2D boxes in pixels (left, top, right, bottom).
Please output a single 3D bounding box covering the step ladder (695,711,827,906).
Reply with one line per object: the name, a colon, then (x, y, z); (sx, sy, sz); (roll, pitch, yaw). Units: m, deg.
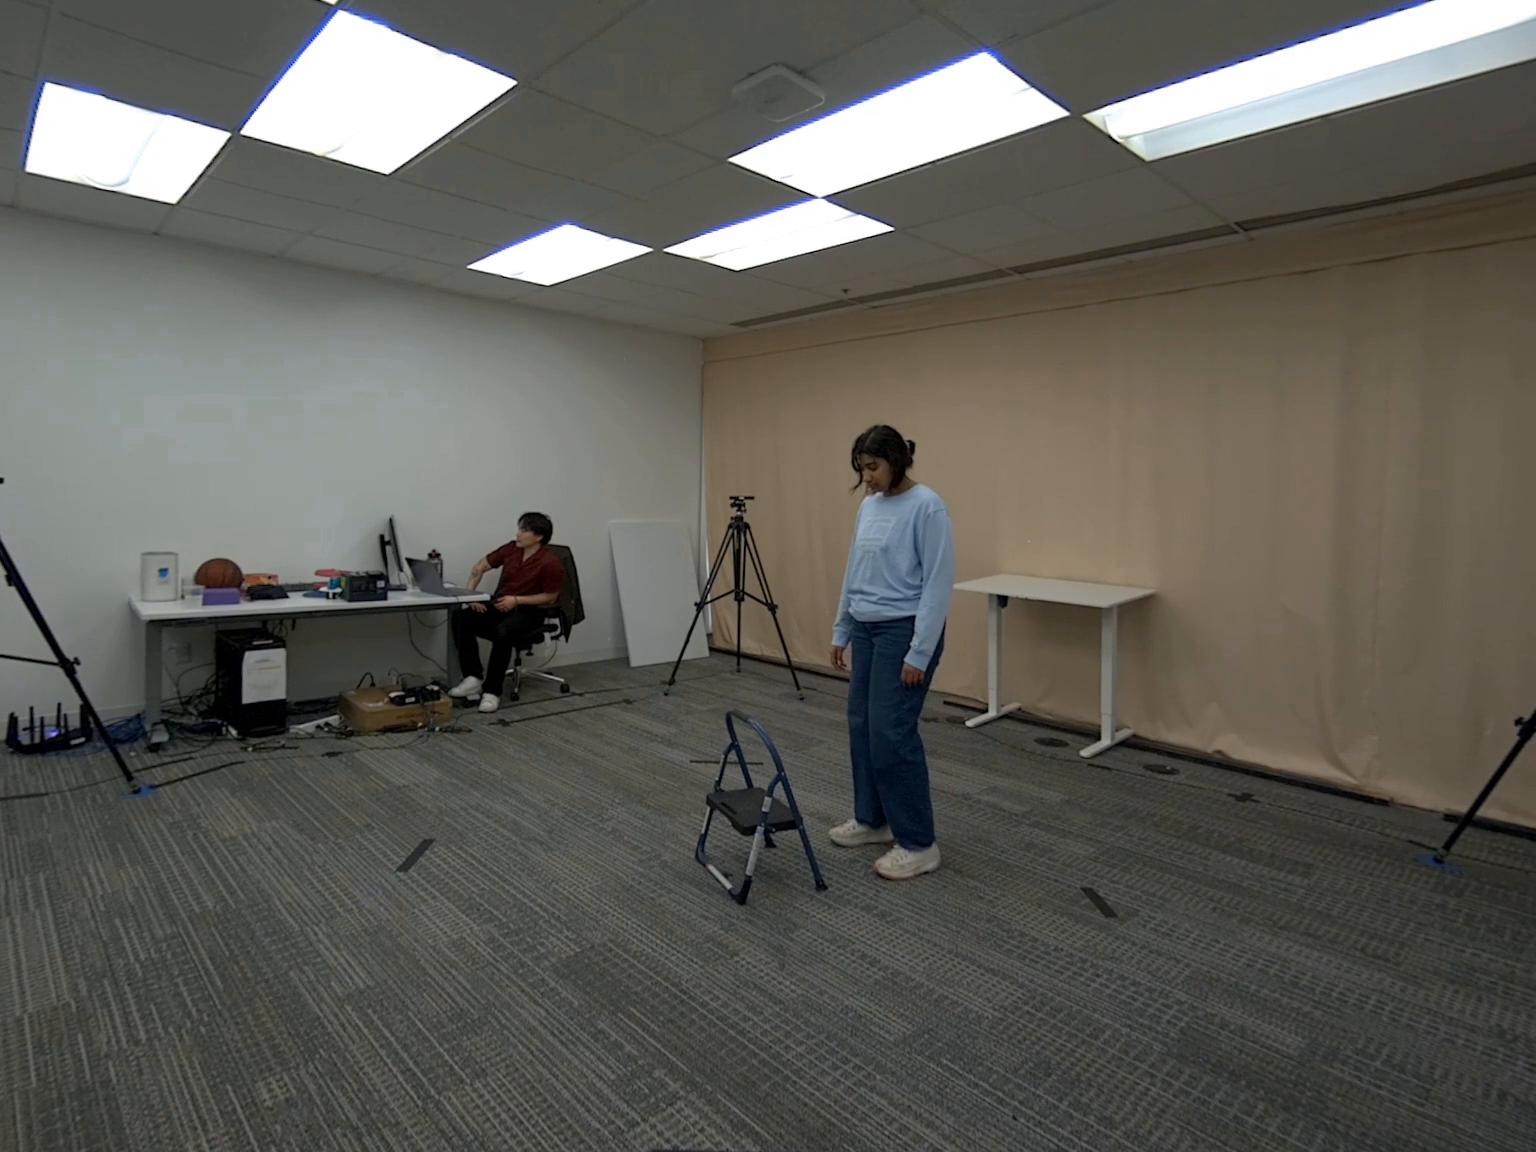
step ladder: (-0.037, 0.805, 3.110); (0.343, 0.605, 0.440); (0, 4, -27)
